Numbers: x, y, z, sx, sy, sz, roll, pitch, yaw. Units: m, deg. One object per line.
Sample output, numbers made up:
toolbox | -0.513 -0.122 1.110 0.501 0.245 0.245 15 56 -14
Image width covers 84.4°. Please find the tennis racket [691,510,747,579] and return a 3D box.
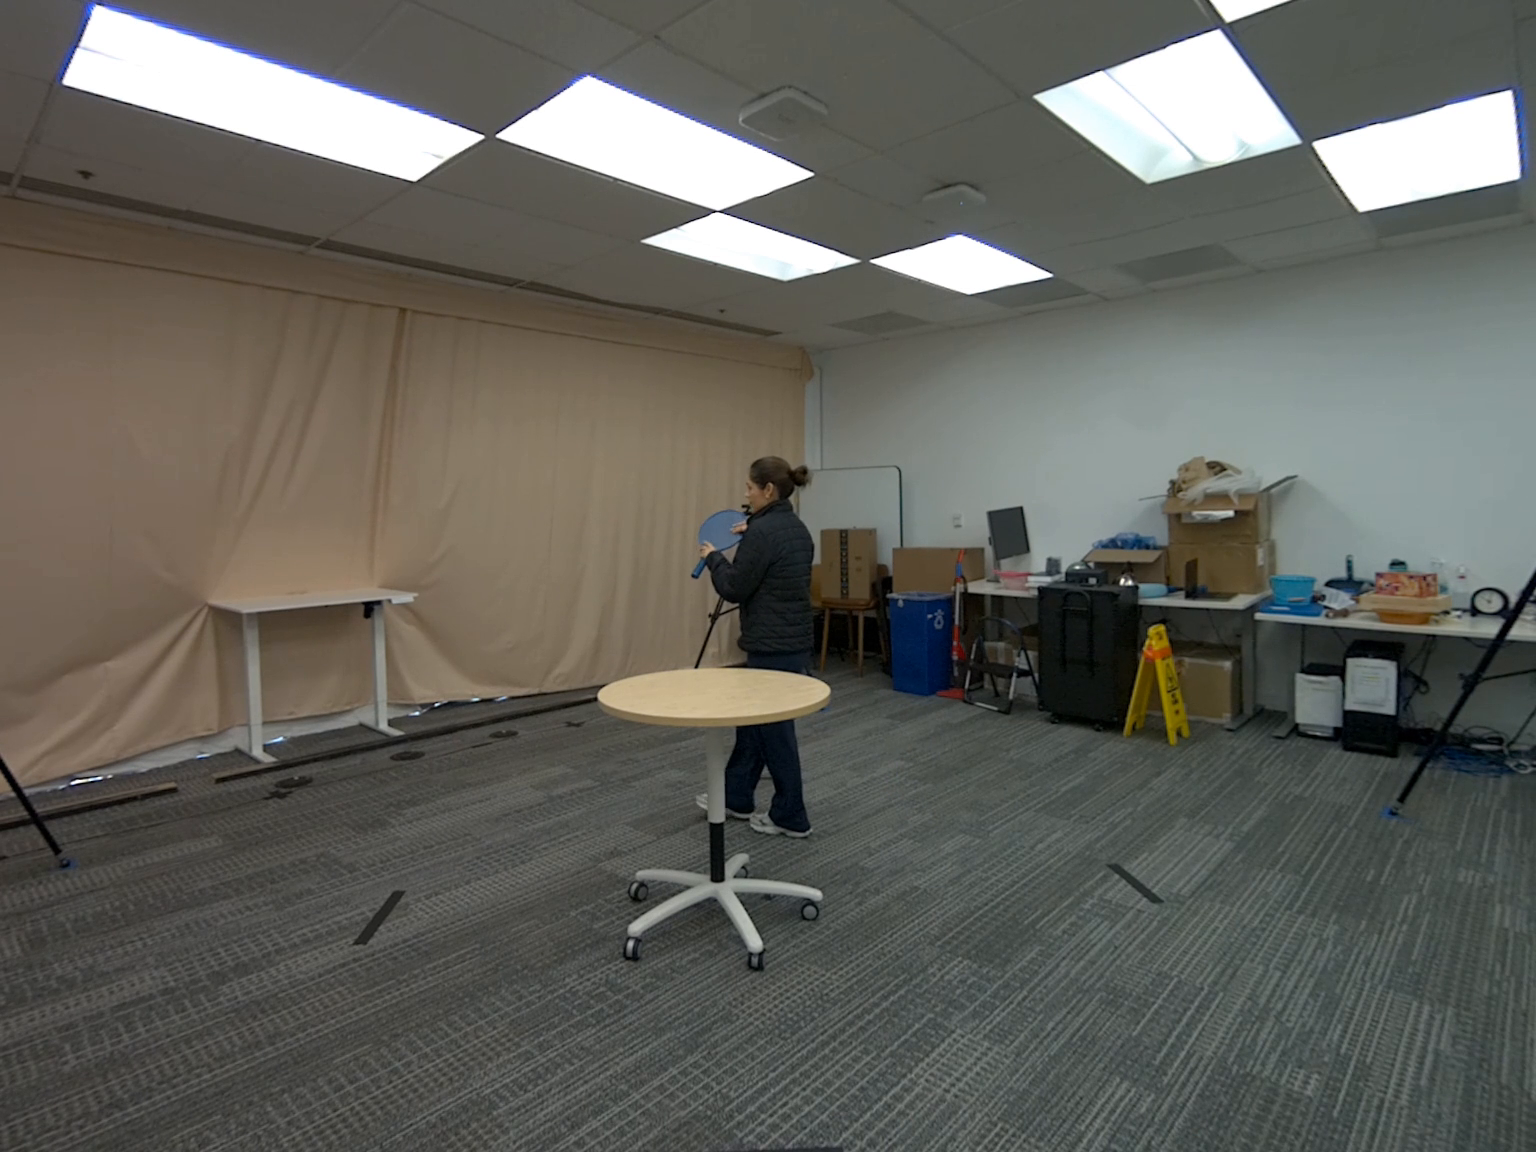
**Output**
tennis racket | -0.219 -0.153 3.720 0.219 0.031 0.432 12 49 23
